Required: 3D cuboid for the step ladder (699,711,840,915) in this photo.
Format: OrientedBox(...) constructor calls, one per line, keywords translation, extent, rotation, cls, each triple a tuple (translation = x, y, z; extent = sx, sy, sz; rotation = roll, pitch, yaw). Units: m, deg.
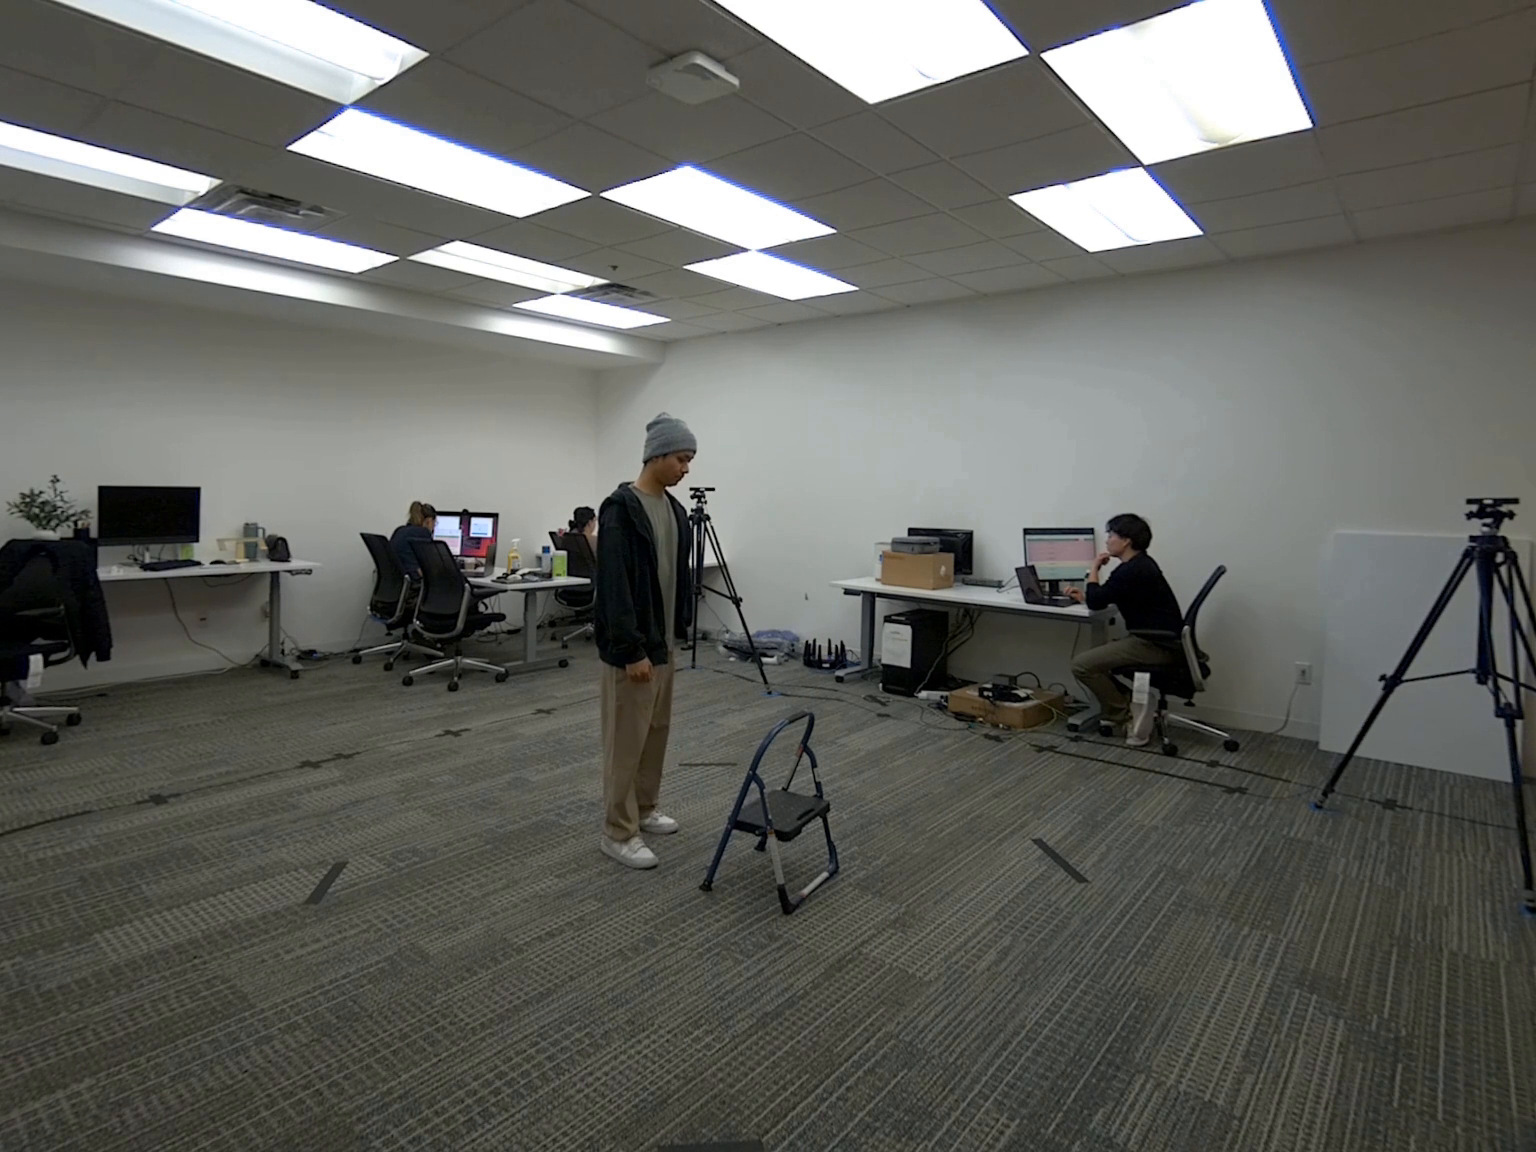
OrientedBox(translation=(0.013, 0.777, 3.016), extent=(0.359, 0.604, 0.420), rotation=(3, 4, 29), cls="step ladder")
